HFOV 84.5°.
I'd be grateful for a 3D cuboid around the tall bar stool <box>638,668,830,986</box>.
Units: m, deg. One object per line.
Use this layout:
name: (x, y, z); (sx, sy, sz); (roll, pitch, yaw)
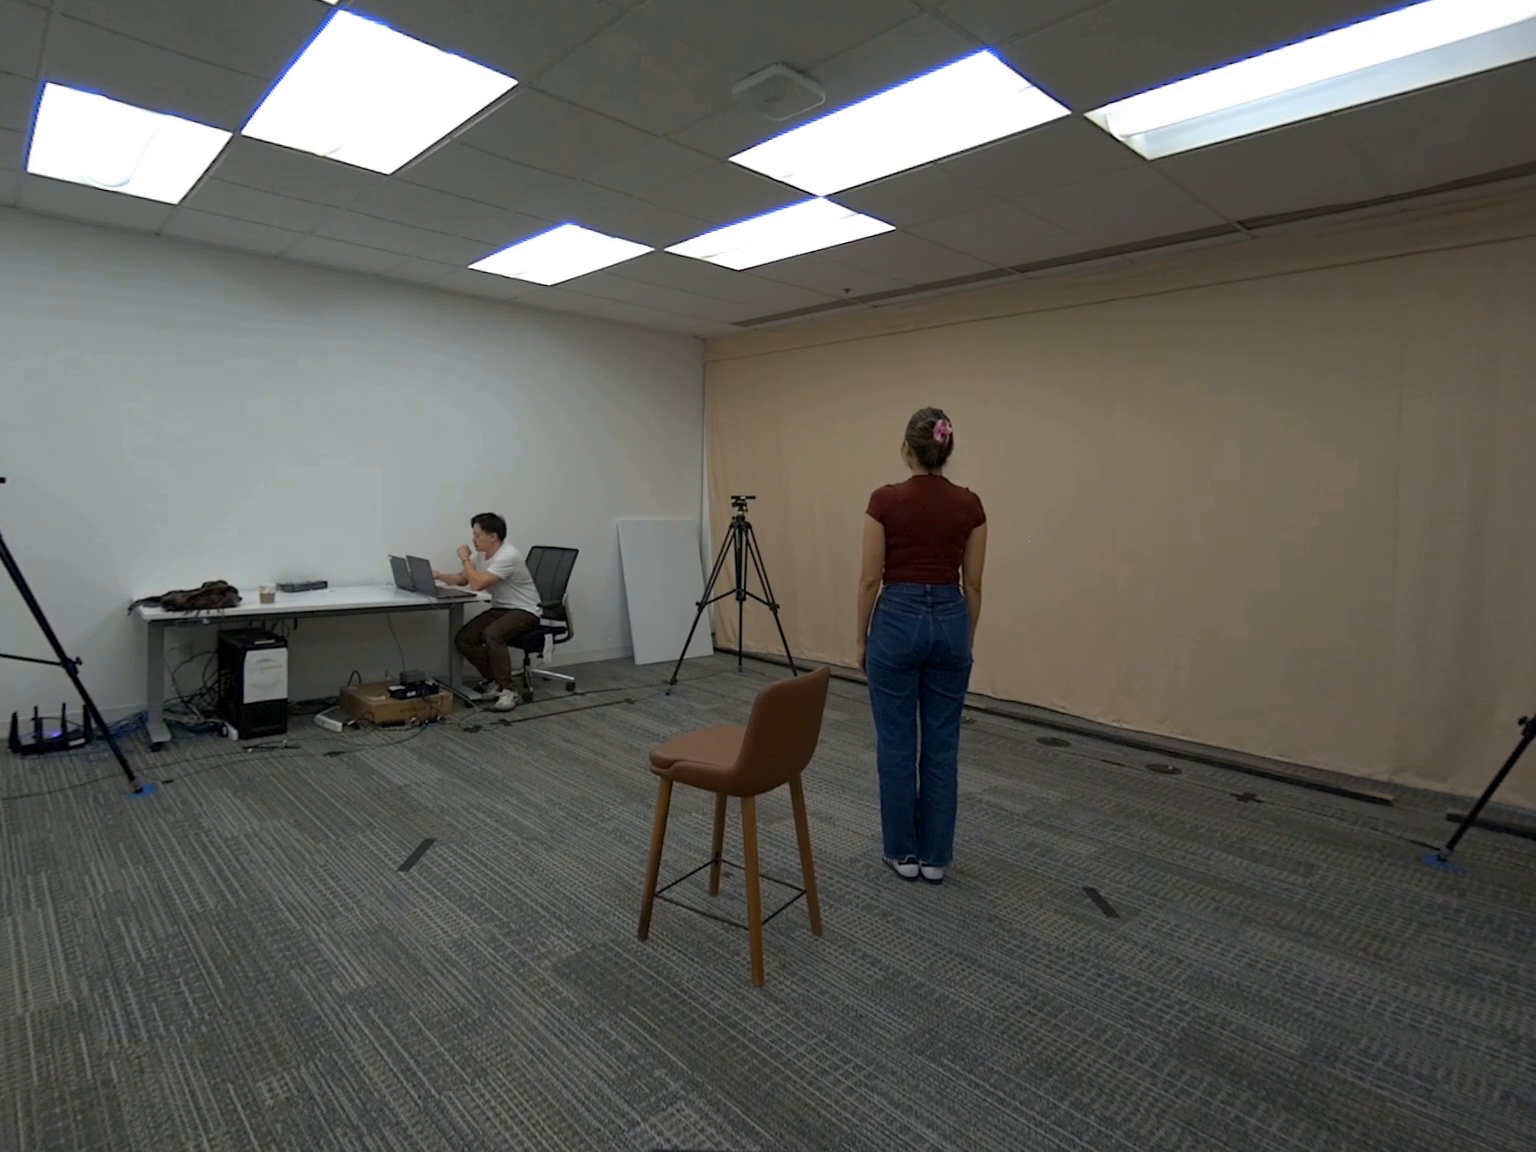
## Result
tall bar stool: (-0.103, 0.711, 2.640); (0.479, 0.886, 0.447); (6, 6, 34)
